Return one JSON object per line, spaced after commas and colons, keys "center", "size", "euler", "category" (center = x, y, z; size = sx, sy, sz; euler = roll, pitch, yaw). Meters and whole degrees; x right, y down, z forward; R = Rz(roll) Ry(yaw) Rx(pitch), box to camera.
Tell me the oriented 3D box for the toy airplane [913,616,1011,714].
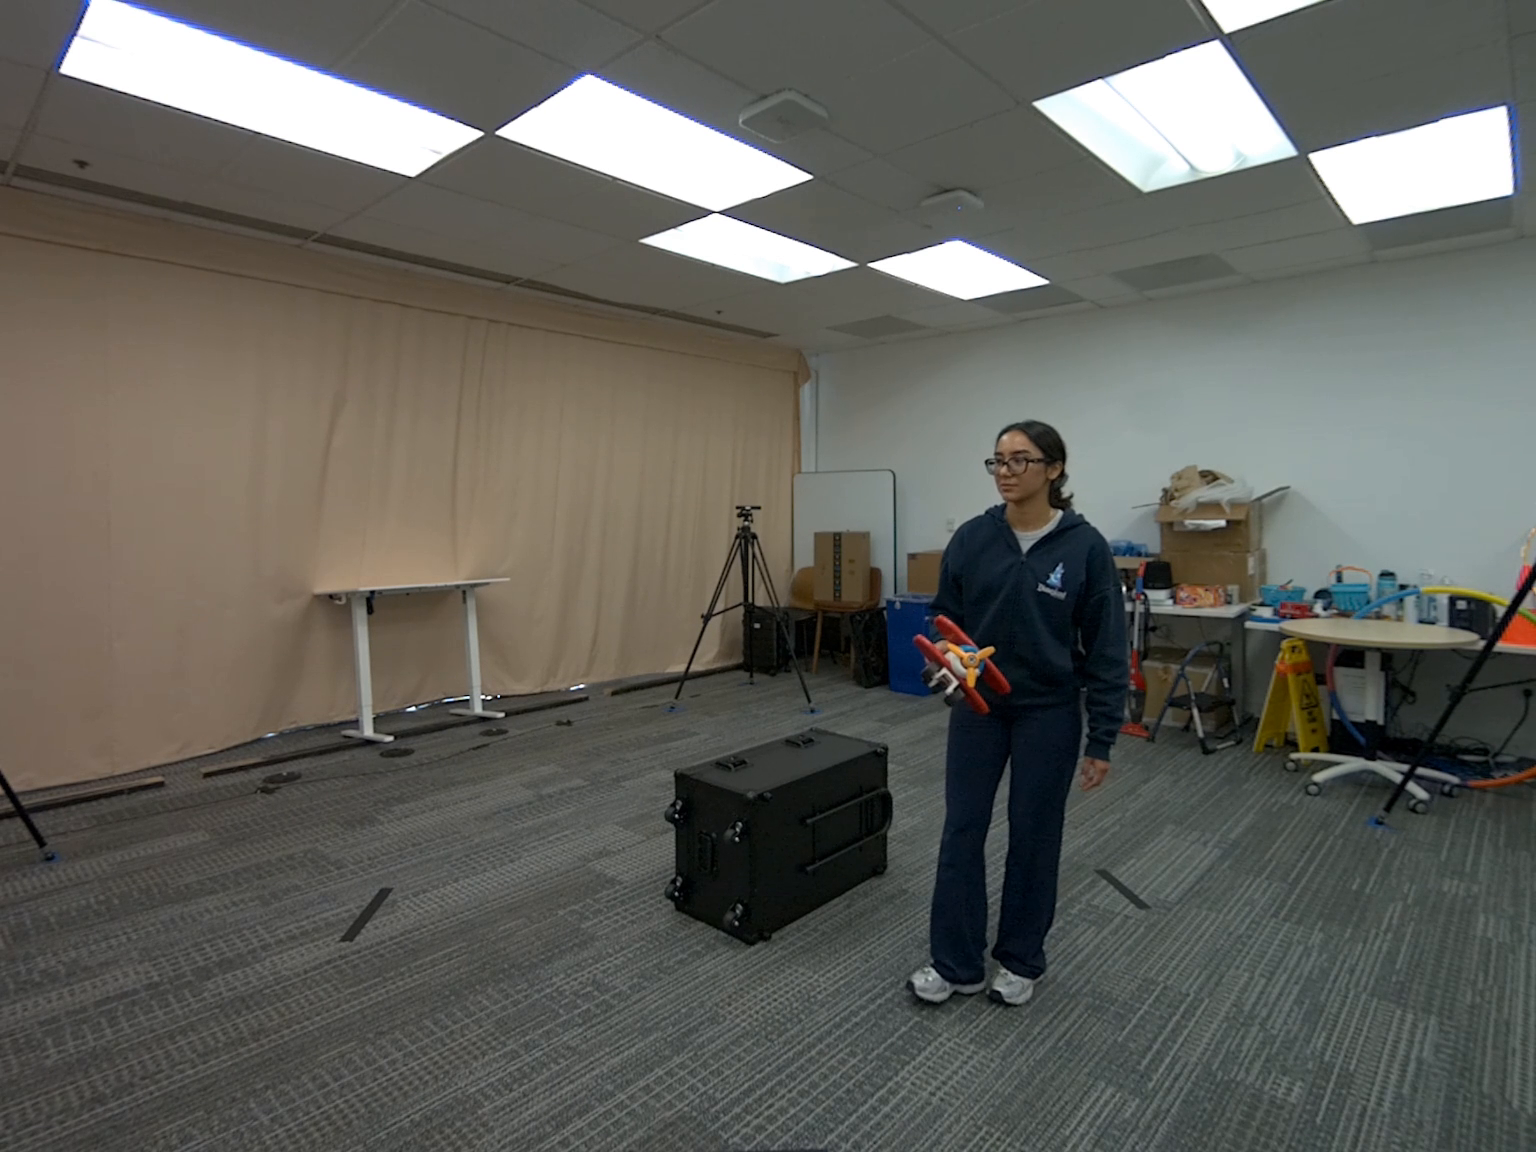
{"center": [0.486, 0.224, 2.193], "size": [0.156, 0.246, 0.264], "euler": [-42, 17, 3], "category": "toy airplane"}
